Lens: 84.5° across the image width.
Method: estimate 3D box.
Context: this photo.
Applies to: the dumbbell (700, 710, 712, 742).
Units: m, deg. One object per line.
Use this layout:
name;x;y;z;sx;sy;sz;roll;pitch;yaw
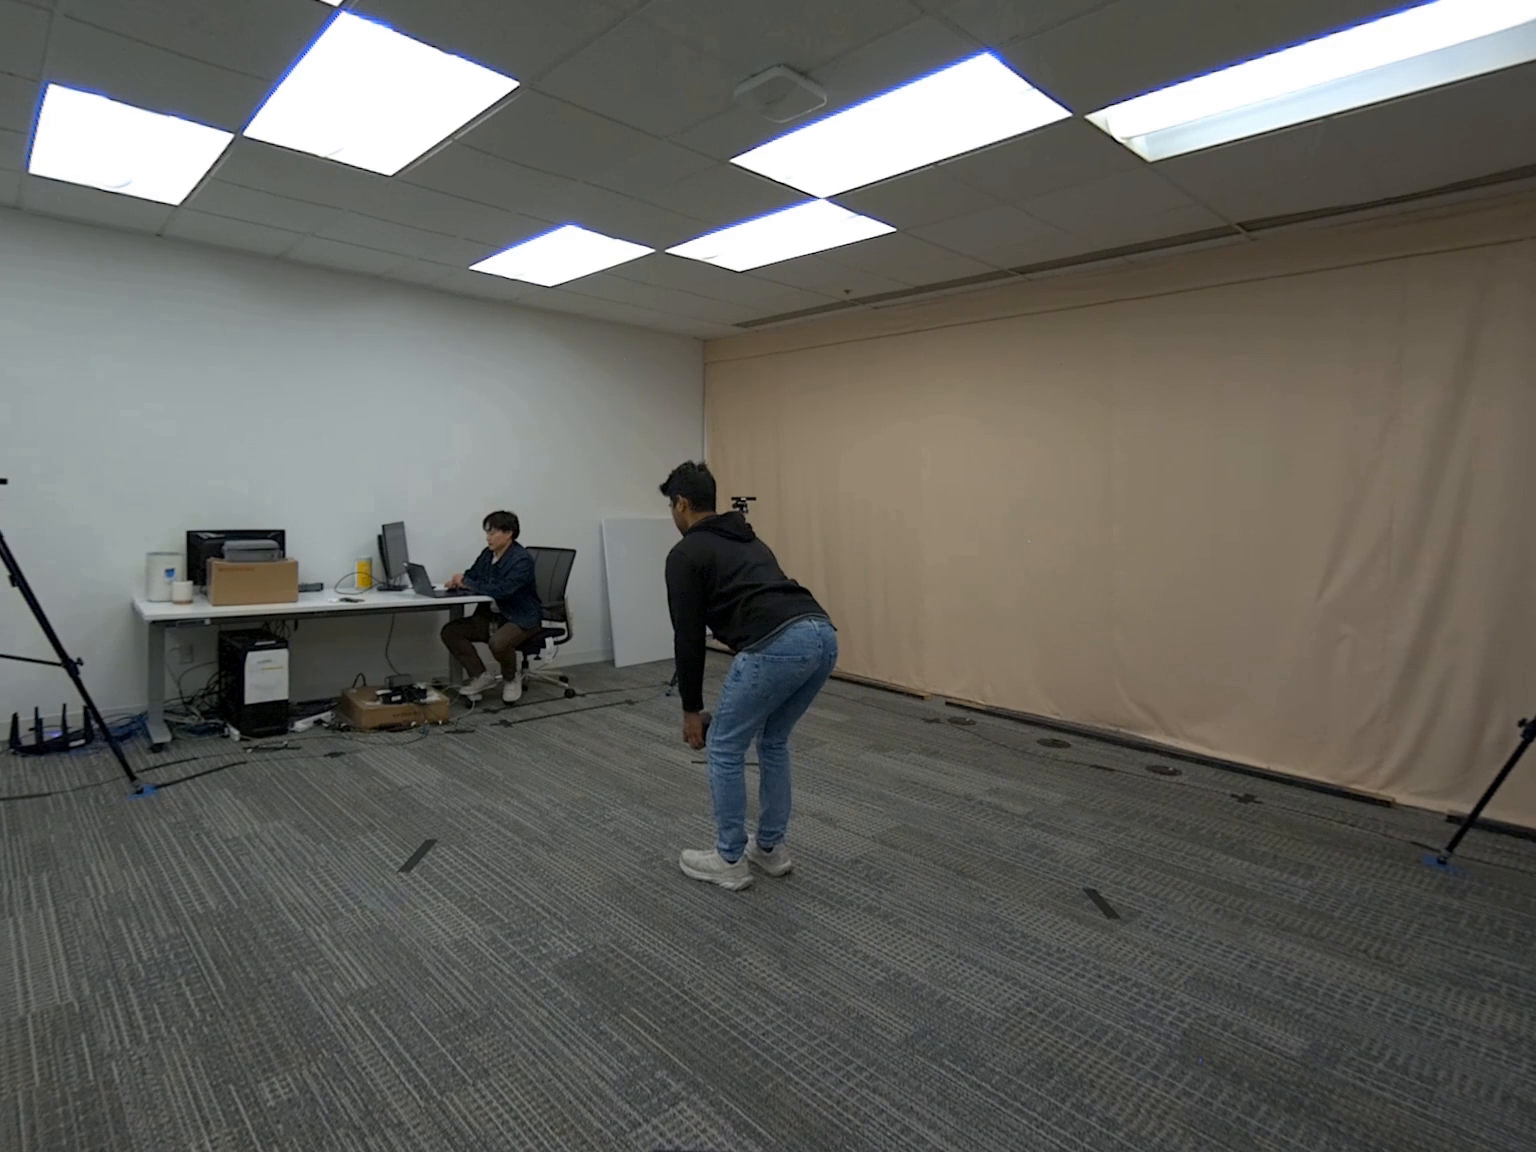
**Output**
dumbbell;-0.166;0.577;3.200;0.286;0.108;0.127;0;31;-42
